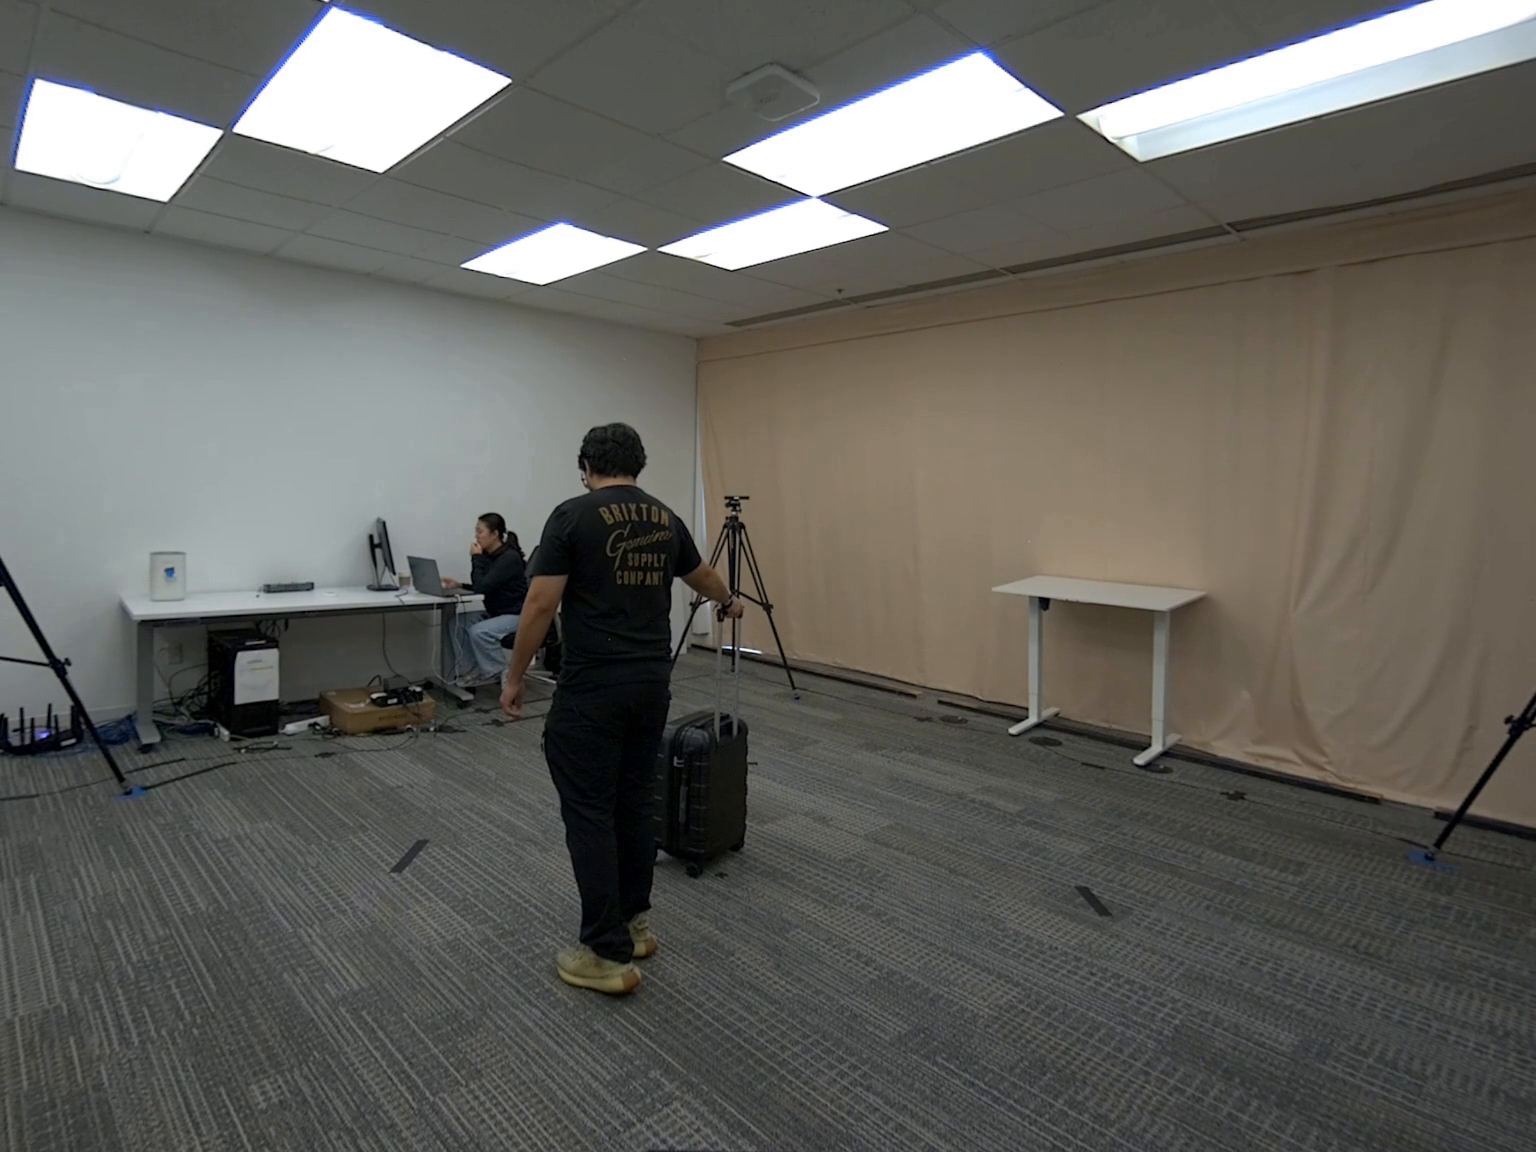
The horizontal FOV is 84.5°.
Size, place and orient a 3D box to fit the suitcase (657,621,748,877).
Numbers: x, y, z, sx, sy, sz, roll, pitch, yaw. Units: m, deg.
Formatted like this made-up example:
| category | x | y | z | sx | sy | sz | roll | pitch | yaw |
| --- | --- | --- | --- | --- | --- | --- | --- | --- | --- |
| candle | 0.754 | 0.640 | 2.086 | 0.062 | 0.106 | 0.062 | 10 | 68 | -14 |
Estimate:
| category | x | y | z | sx | sy | sz | roll | pitch | yaw |
| --- | --- | --- | --- | --- | --- | --- | --- | --- | --- |
| suitcase | -0.262 | 0.609 | 3.230 | 0.262 | 0.977 | 0.376 | 2 | 3 | 29 |
